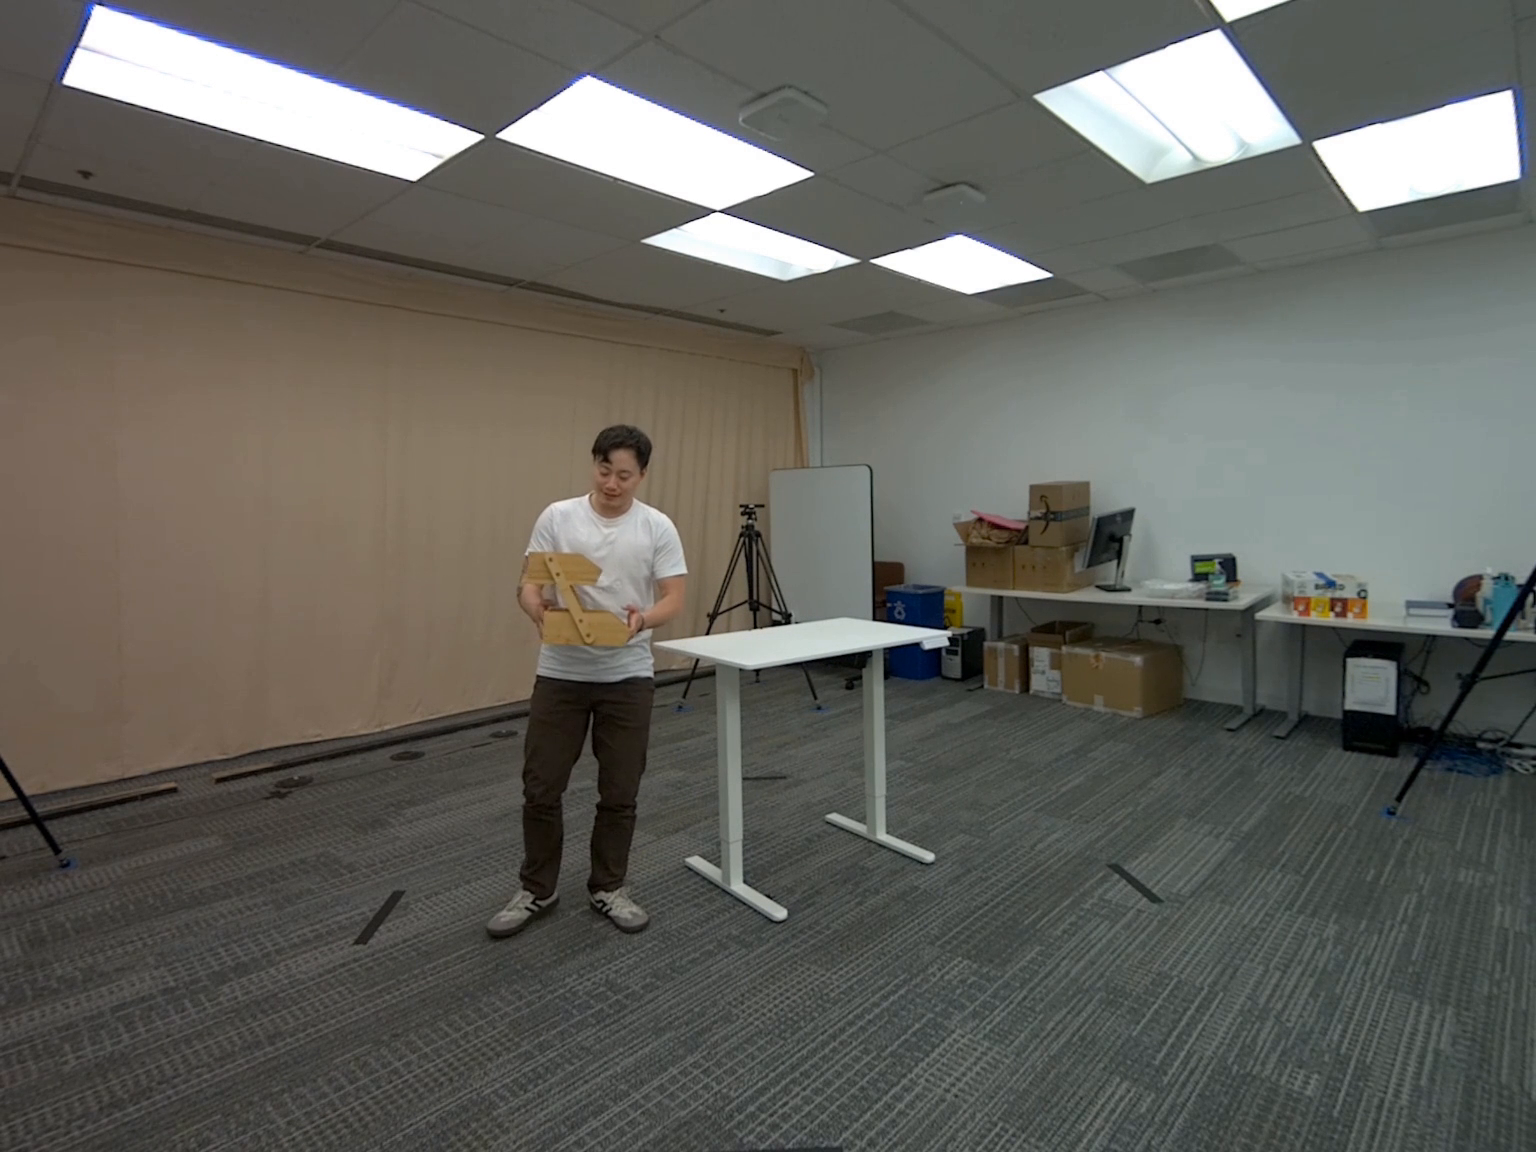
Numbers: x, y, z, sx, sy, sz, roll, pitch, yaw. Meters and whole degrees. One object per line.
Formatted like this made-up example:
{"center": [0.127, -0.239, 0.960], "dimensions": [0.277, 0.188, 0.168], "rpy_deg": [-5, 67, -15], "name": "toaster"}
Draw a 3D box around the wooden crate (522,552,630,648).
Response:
{"center": [-0.543, 0.063, 2.532], "dimensions": [0.299, 0.274, 0.327], "rpy_deg": [3, -2, -10], "name": "wooden crate"}
